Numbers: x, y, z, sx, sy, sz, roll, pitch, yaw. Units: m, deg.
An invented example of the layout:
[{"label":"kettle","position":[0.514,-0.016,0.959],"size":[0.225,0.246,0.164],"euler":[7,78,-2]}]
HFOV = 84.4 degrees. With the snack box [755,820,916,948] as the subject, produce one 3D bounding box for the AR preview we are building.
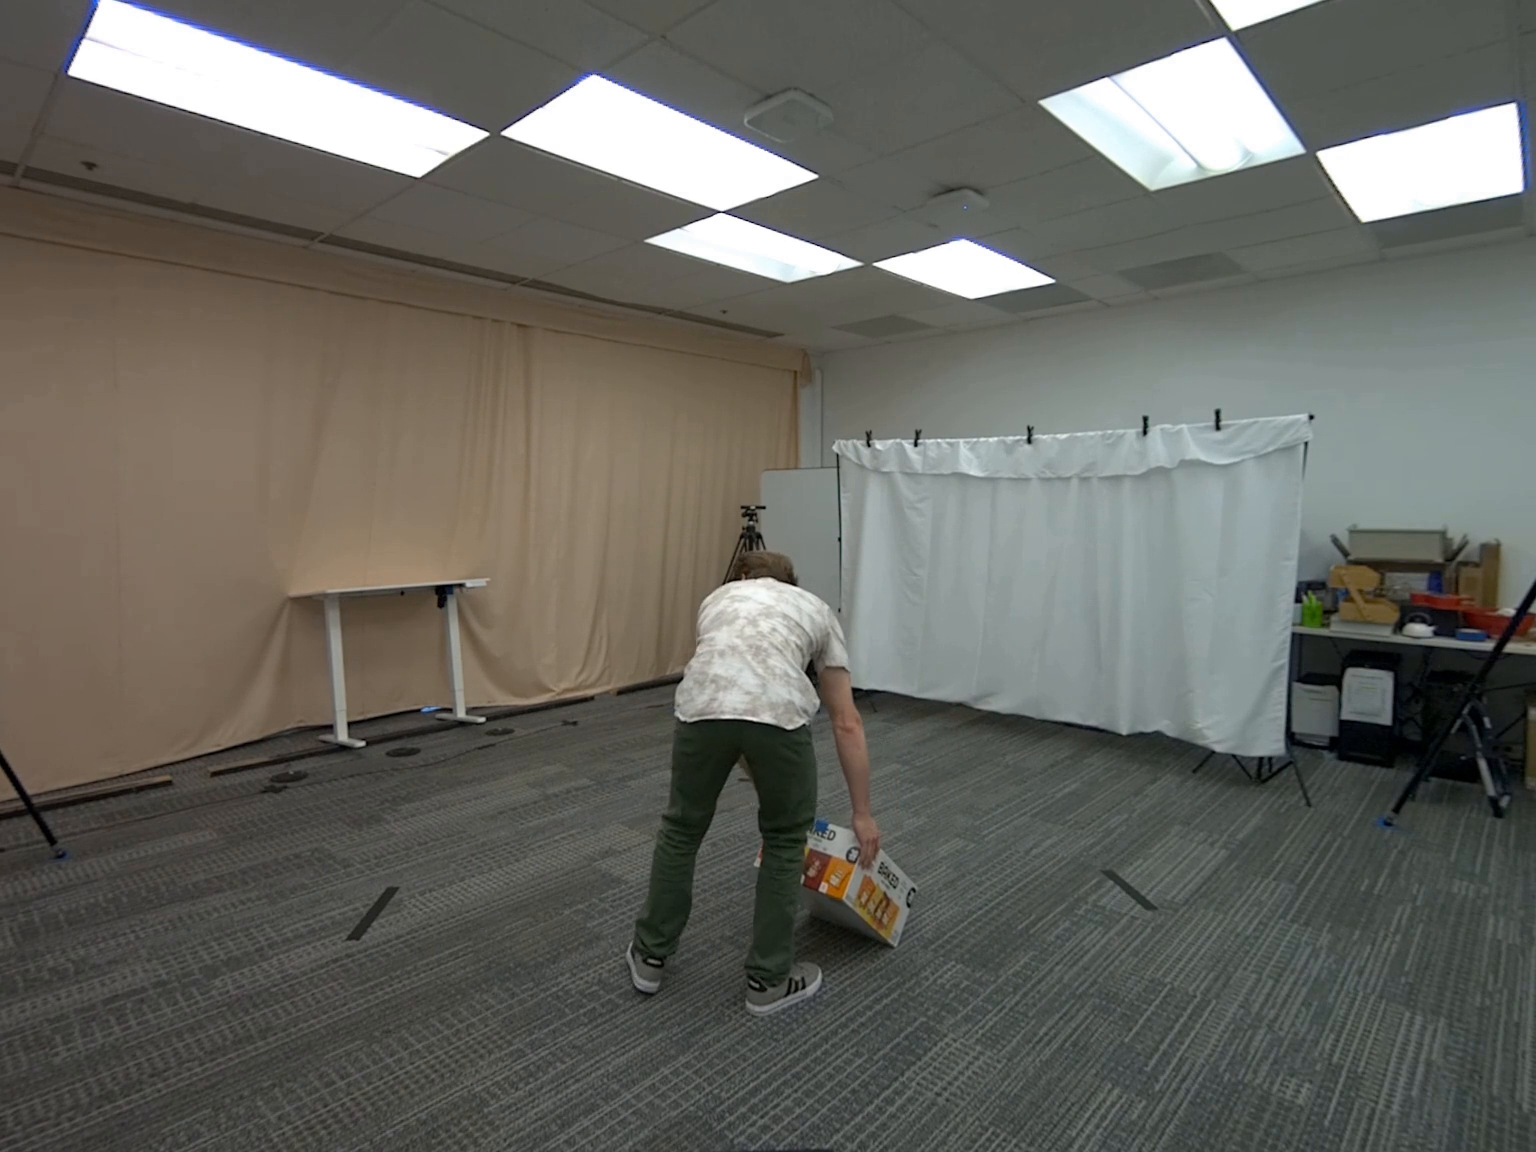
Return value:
[{"label":"snack box","position":[0.224,0.964,2.688],"size":[0.352,0.206,0.392],"euler":[5,-35,41]}]
